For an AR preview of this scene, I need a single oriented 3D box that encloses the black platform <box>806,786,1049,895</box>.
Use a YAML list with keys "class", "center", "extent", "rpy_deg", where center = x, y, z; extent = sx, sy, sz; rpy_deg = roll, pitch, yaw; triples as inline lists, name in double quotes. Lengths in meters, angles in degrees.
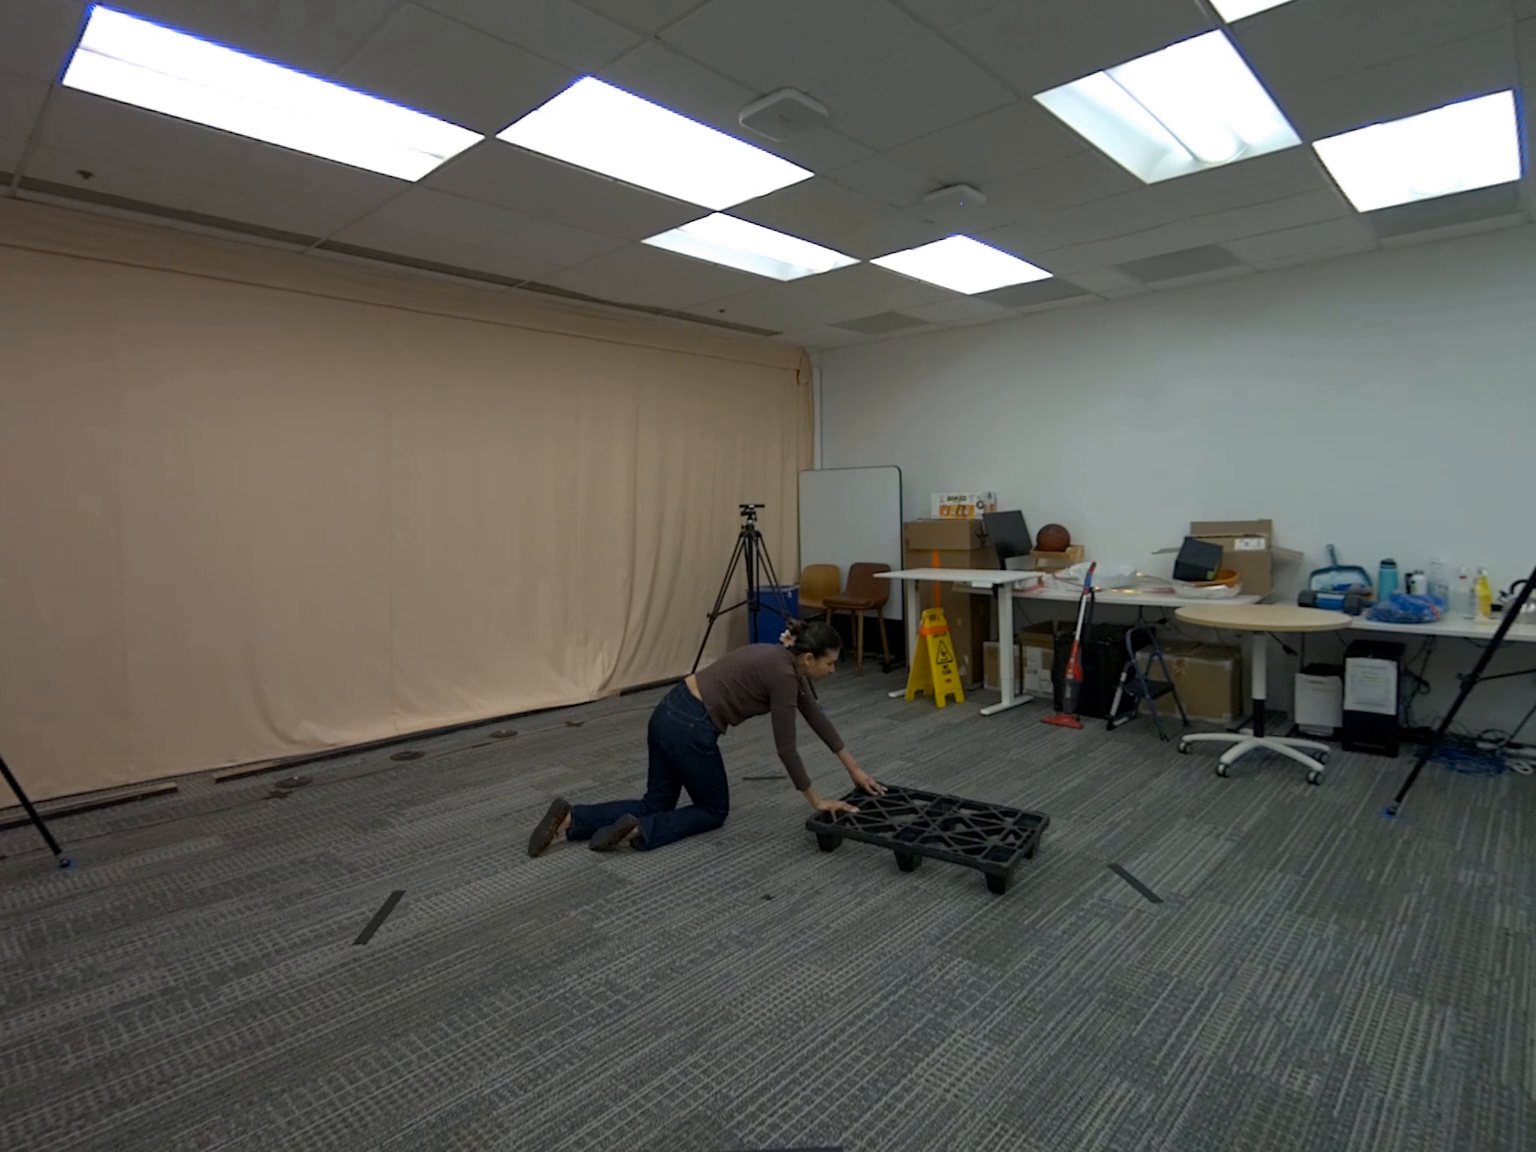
- class: "black platform"
  center: [0.640, 1.029, 3.365]
  extent: [0.830, 0.143, 0.588]
  rpy_deg: [2, 4, 33]
